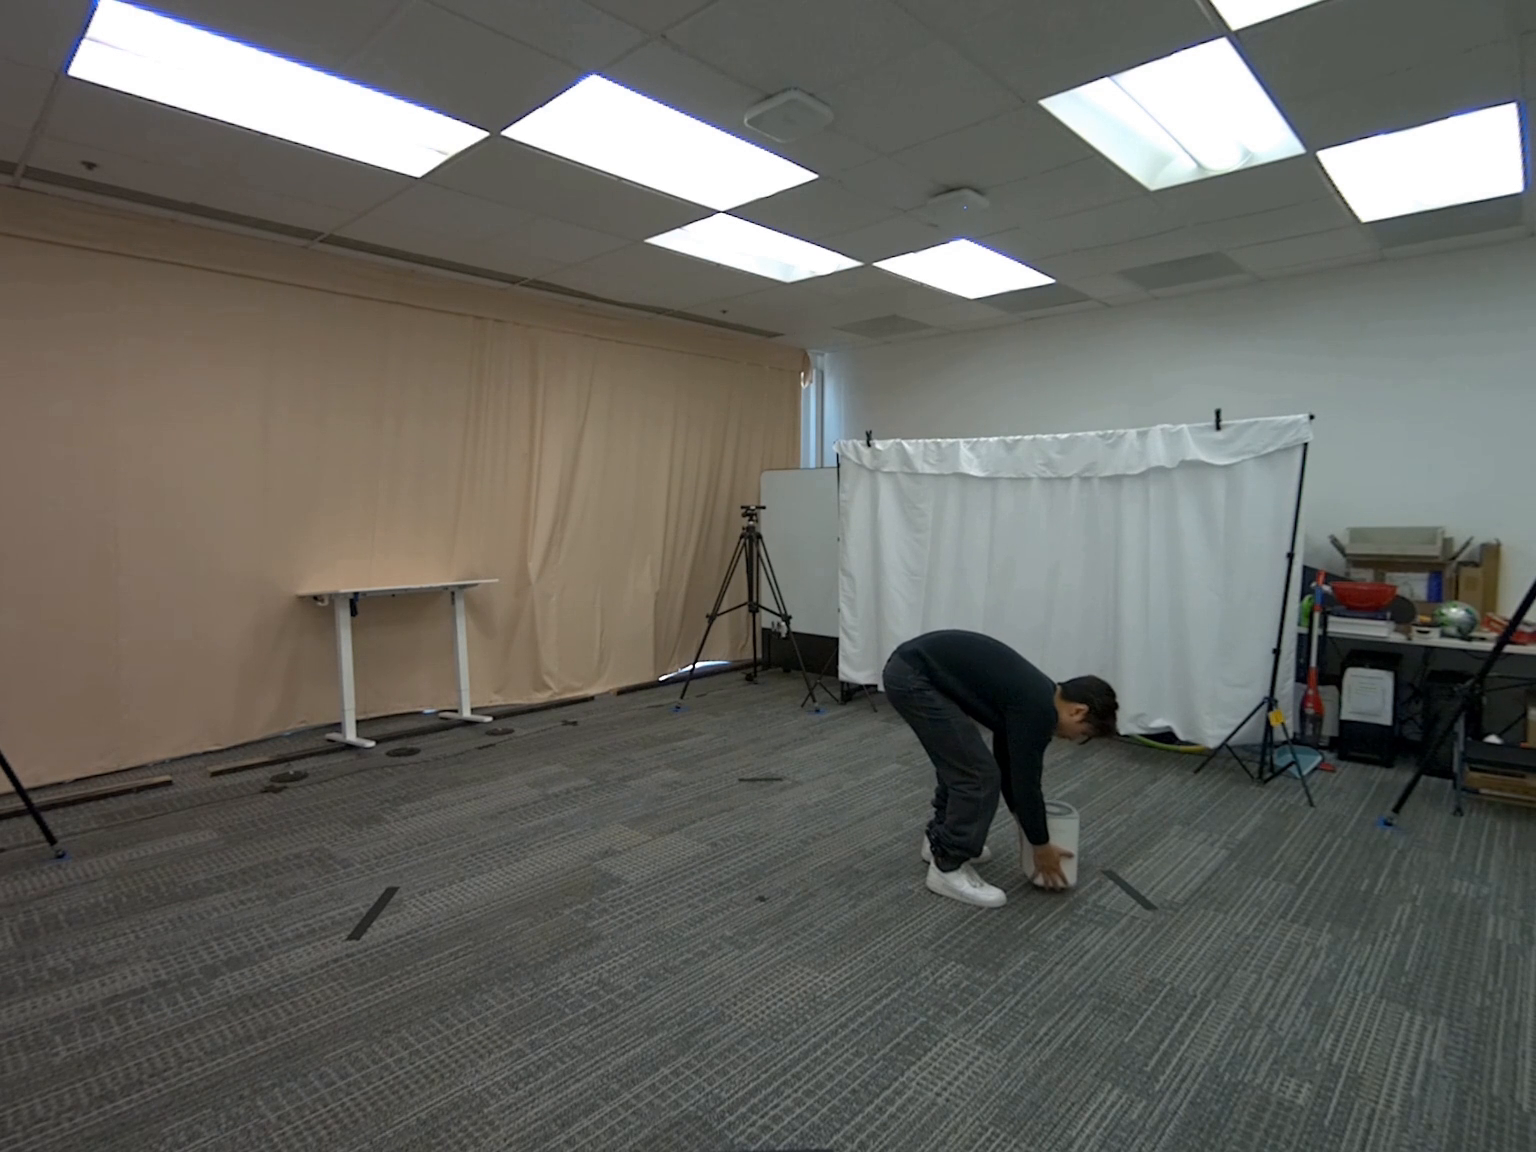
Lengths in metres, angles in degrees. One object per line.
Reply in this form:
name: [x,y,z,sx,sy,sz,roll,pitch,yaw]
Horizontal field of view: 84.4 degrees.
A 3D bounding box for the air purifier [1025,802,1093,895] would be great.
air purifier: [1.047,0.979,3.064,0.171,0.265,0.172,0,2,-1]
